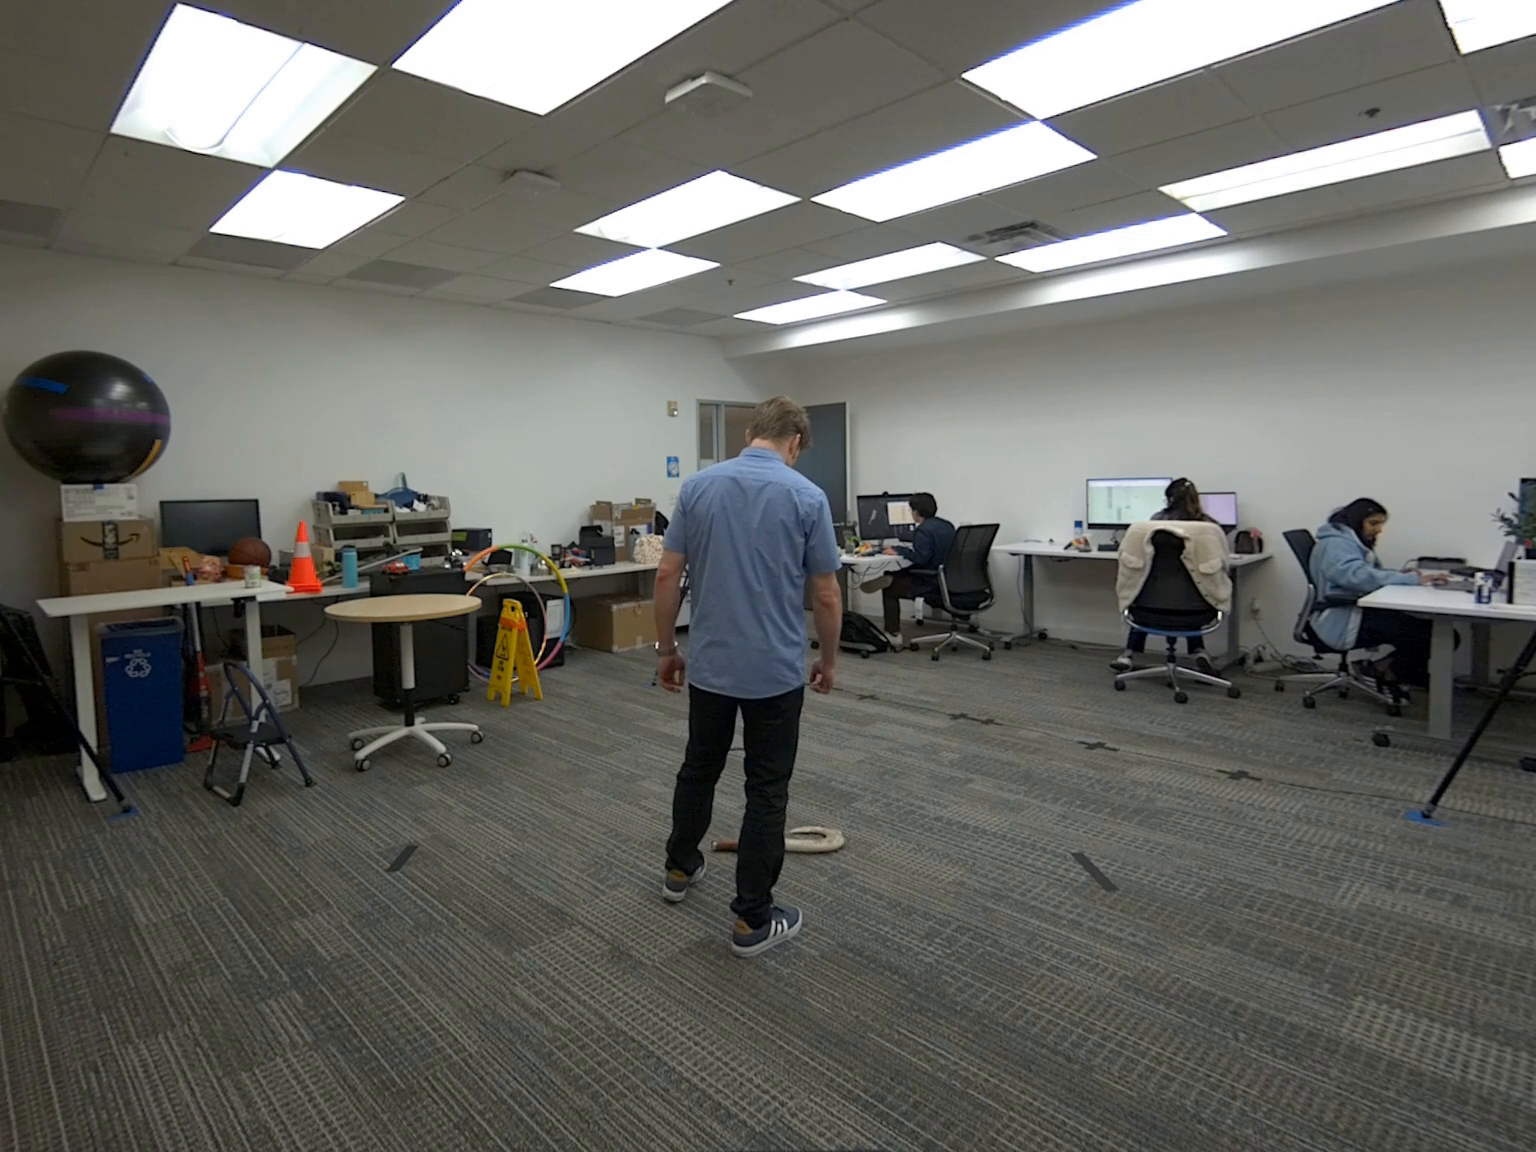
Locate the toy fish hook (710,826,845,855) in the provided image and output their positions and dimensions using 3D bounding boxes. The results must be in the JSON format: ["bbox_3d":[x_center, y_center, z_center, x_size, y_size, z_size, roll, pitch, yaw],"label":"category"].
[{"bbox_3d":[0.037,1.008,3.271,0.506,0.048,0.224,-1,-1,-2],"label":"toy fish hook"}]
